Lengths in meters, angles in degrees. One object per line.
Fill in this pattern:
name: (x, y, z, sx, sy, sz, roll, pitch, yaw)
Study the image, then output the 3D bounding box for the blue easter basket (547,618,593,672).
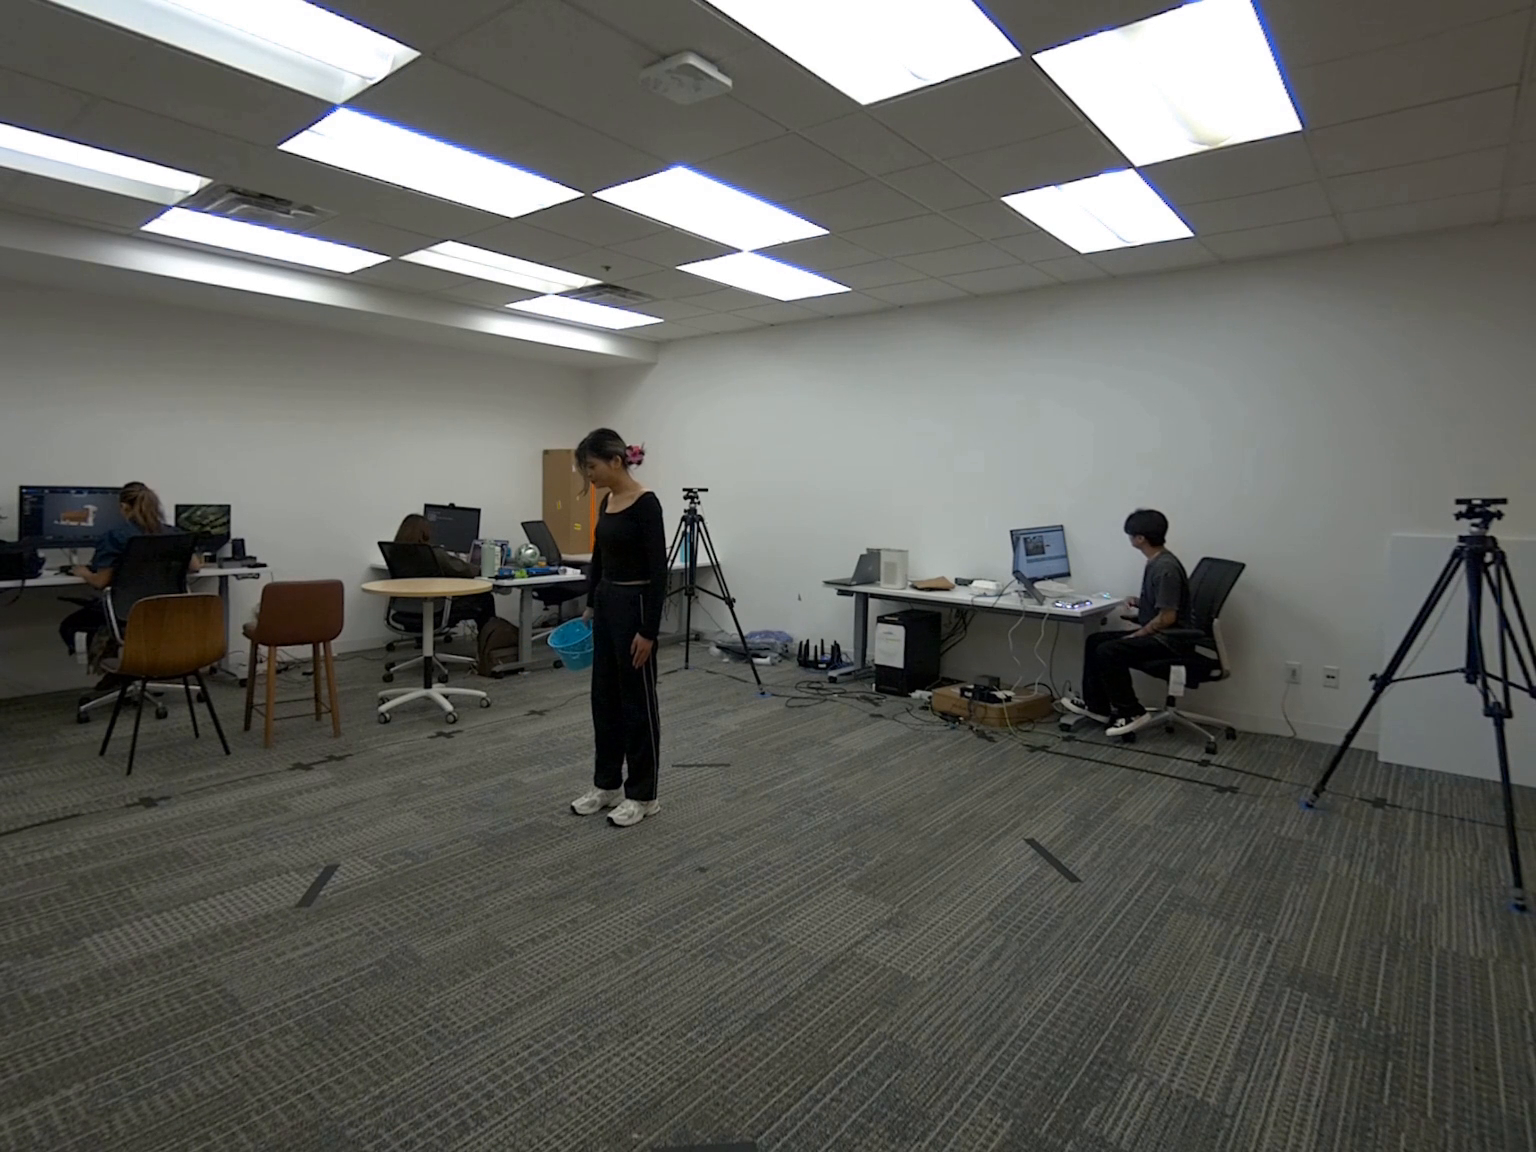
blue easter basket: (-0.893, 0.316, 3.908, 0.245, 0.151, 0.249, -16, 25, 6)
